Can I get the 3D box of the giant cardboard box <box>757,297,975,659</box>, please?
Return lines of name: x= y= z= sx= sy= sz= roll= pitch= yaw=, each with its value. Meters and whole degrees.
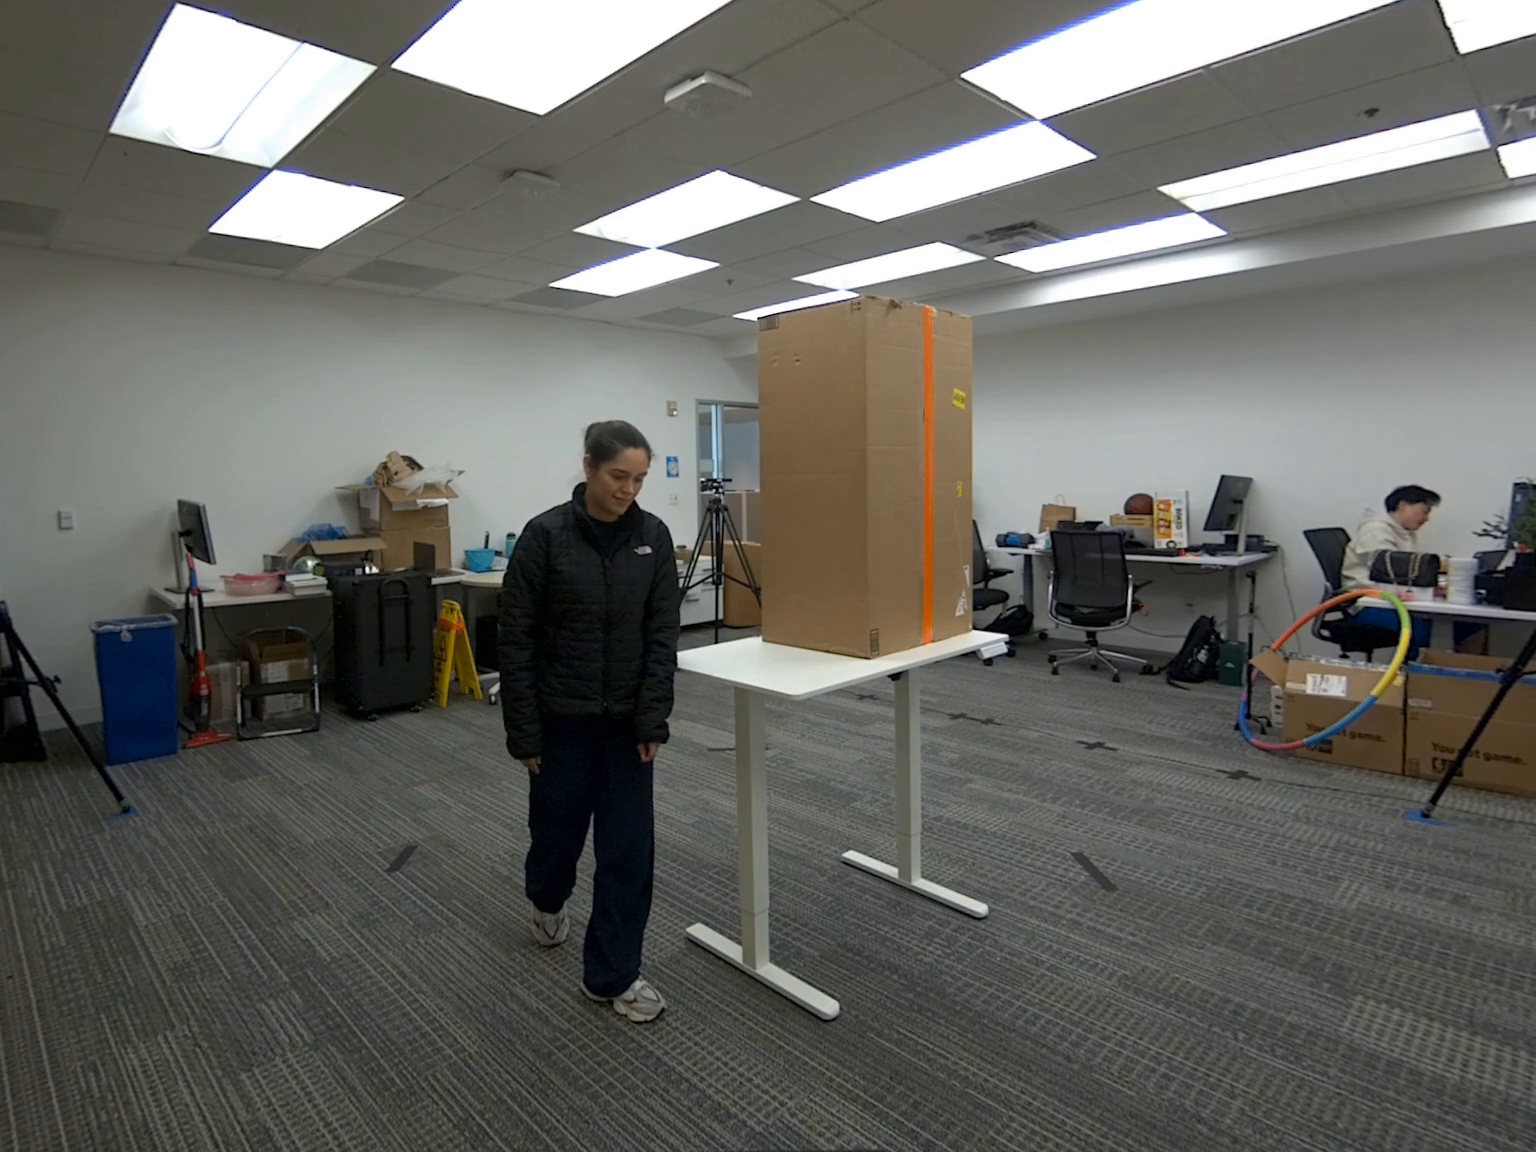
giant cardboard box: x=0.321 y=-0.311 z=2.738 sx=0.439 sy=1.022 sz=0.562 roll=3 pitch=6 yaw=44
